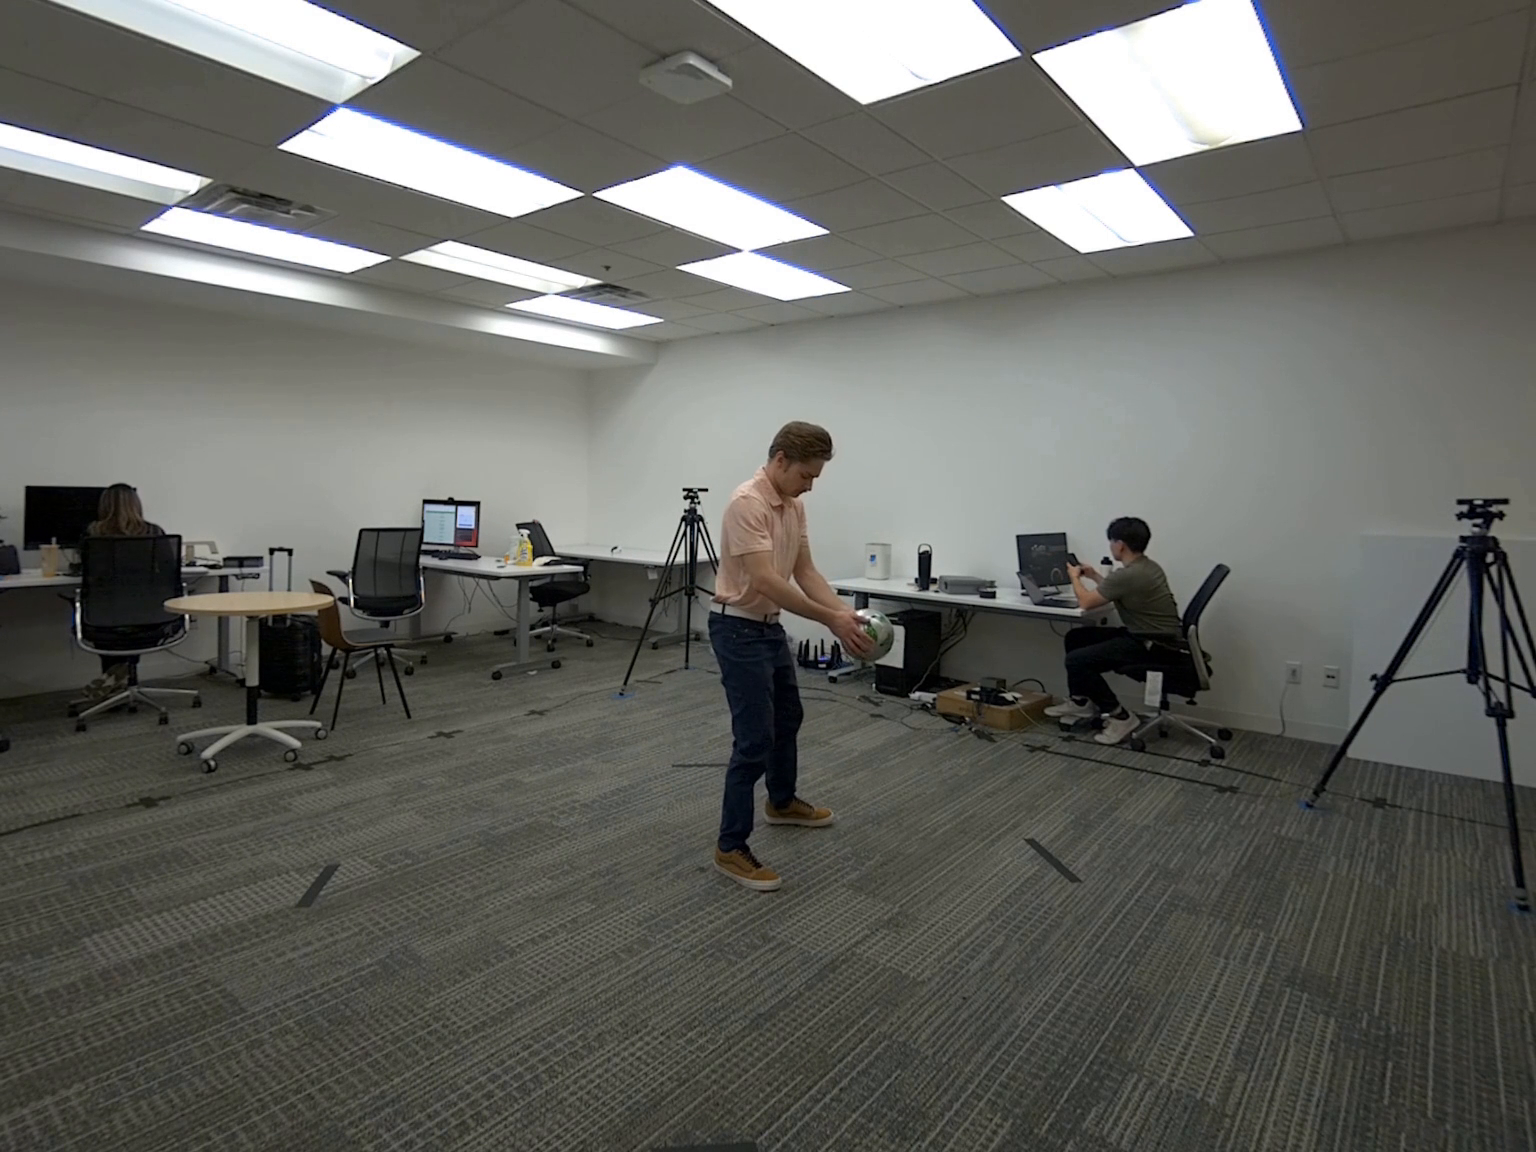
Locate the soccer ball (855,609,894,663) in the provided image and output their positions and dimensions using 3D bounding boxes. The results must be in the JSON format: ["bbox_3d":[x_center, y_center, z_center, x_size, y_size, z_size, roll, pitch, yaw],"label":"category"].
[{"bbox_3d":[0.350,0.206,3.013,0.187,0.187,0.188,1,4,-2],"label":"soccer ball"}]
